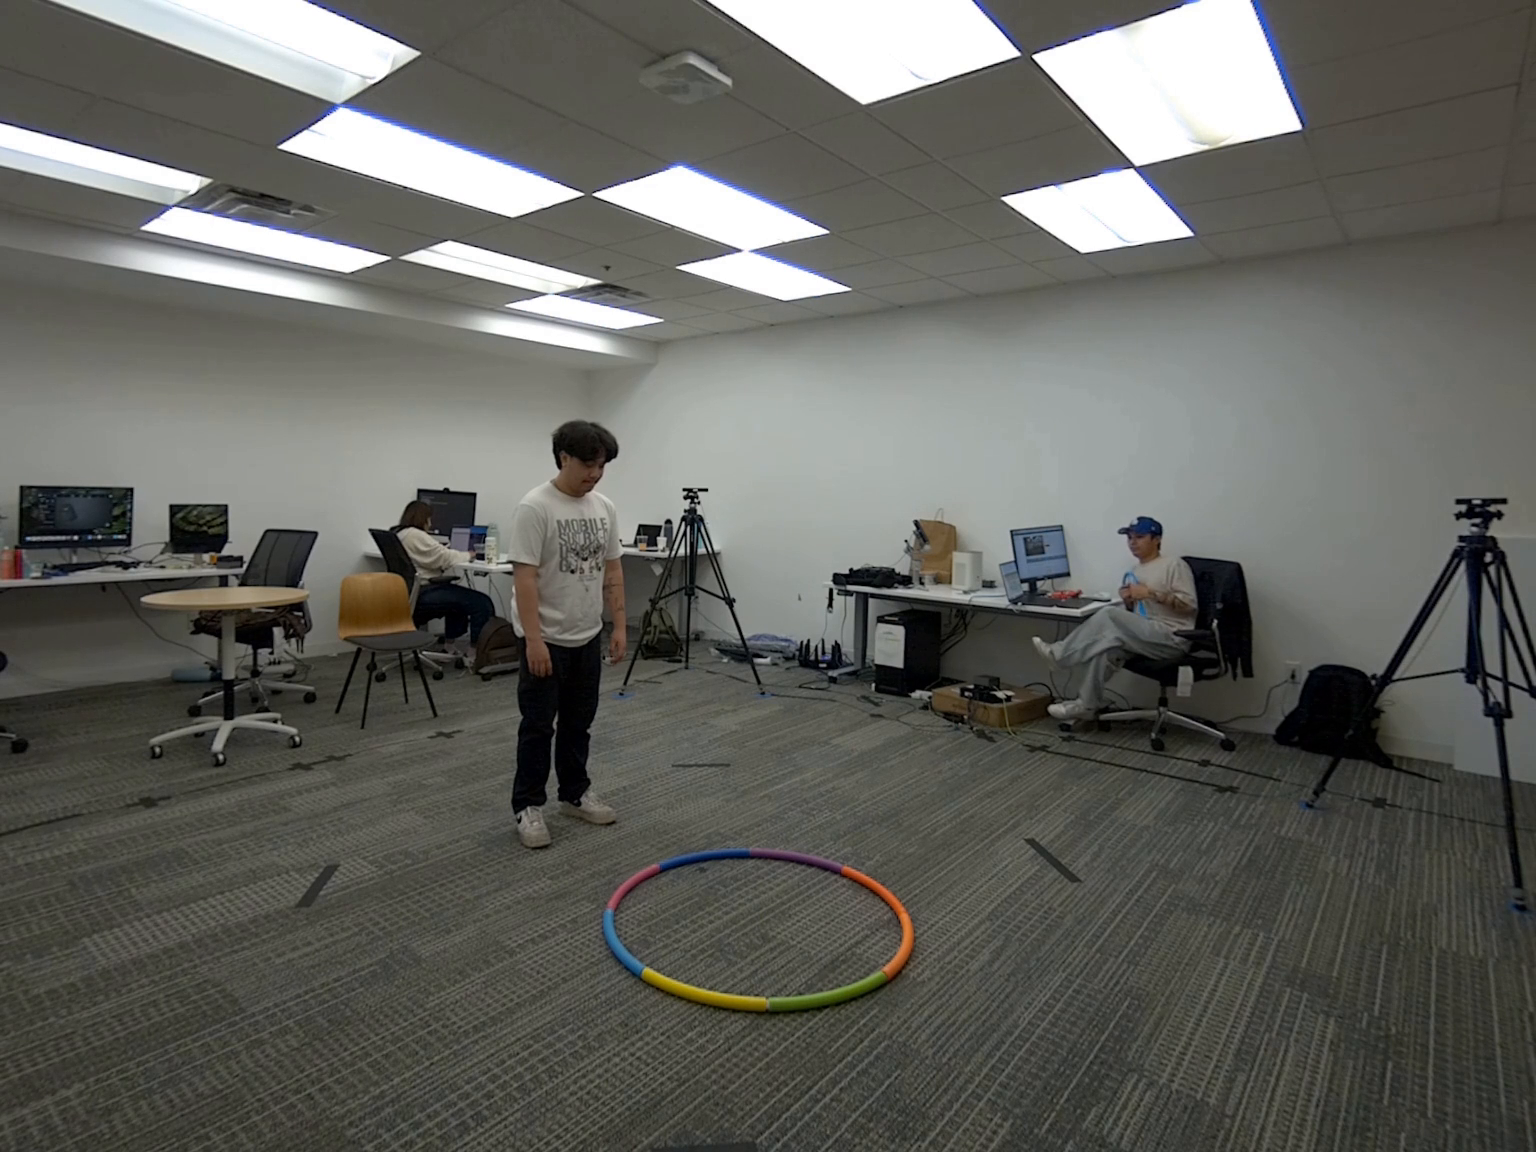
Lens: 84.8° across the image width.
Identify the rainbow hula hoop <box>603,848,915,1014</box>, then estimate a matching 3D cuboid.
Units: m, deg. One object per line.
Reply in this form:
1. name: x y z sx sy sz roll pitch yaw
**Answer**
1. rainbow hula hoop: -0.041 1.081 2.743 0.984 0.051 0.990 0 5 -2
